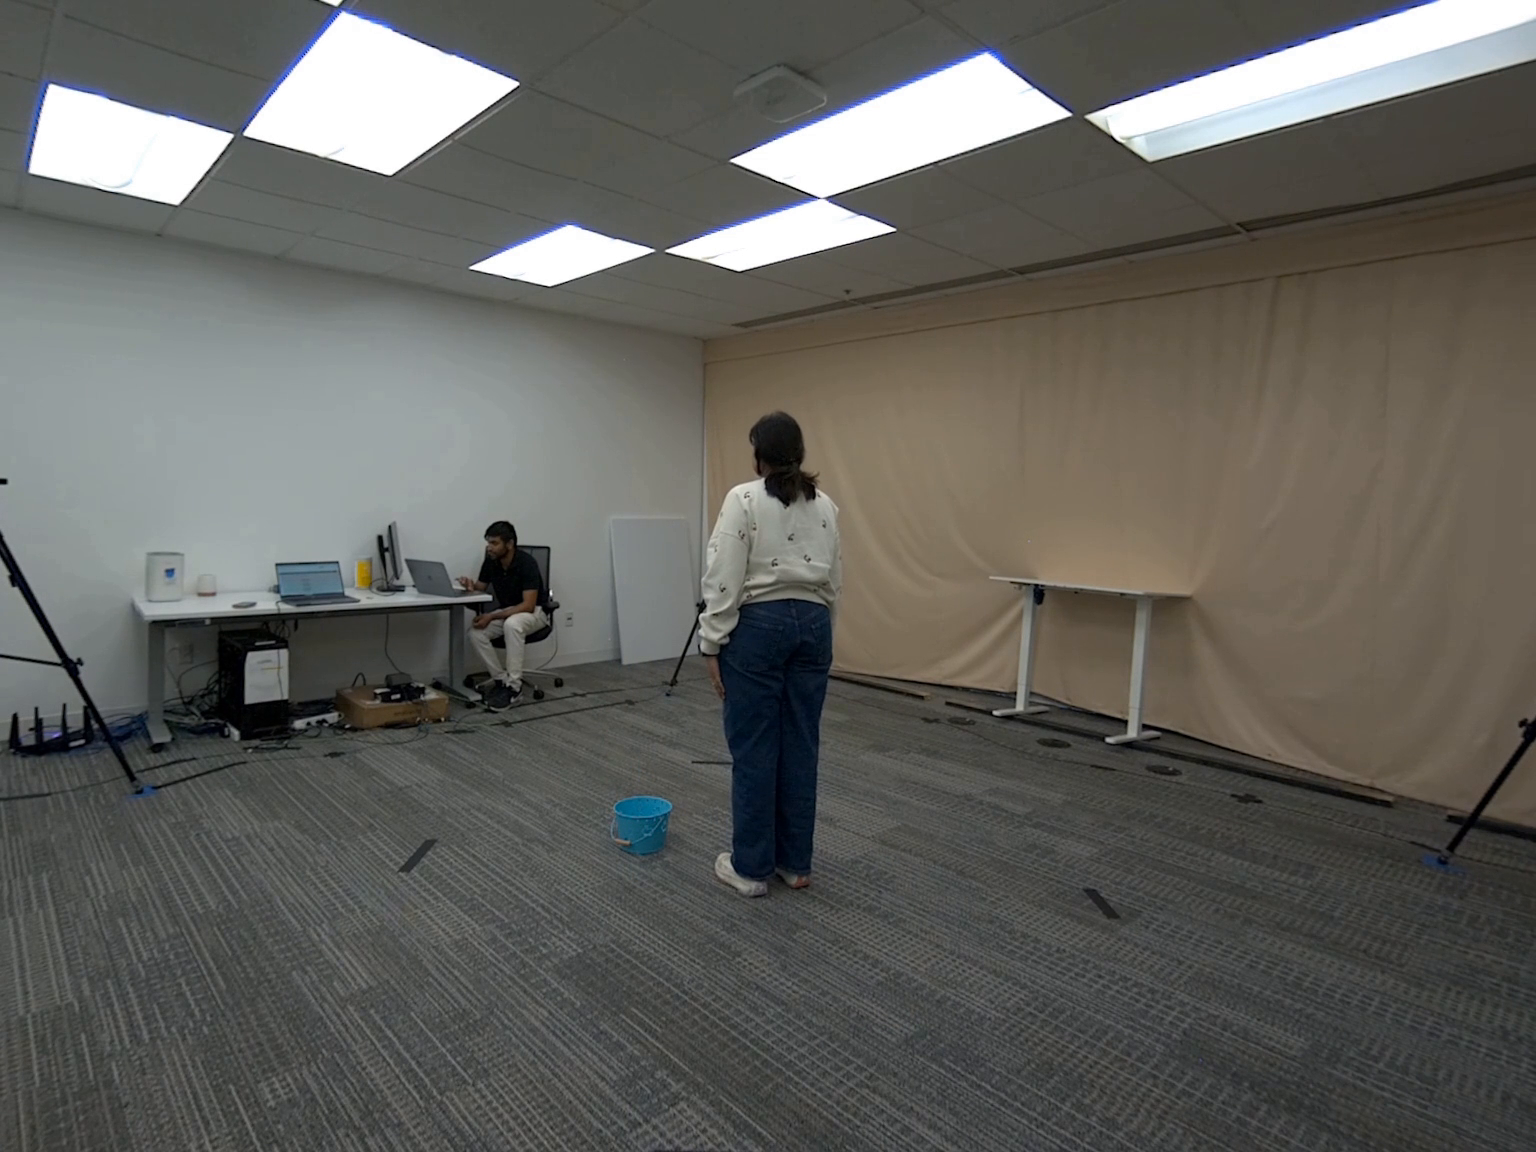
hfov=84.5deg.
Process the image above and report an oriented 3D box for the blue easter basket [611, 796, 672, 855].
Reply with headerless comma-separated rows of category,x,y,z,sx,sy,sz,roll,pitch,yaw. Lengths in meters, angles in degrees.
blue easter basket,-0.515,0.994,3.367,0.243,0.155,0.244,2,4,-1
